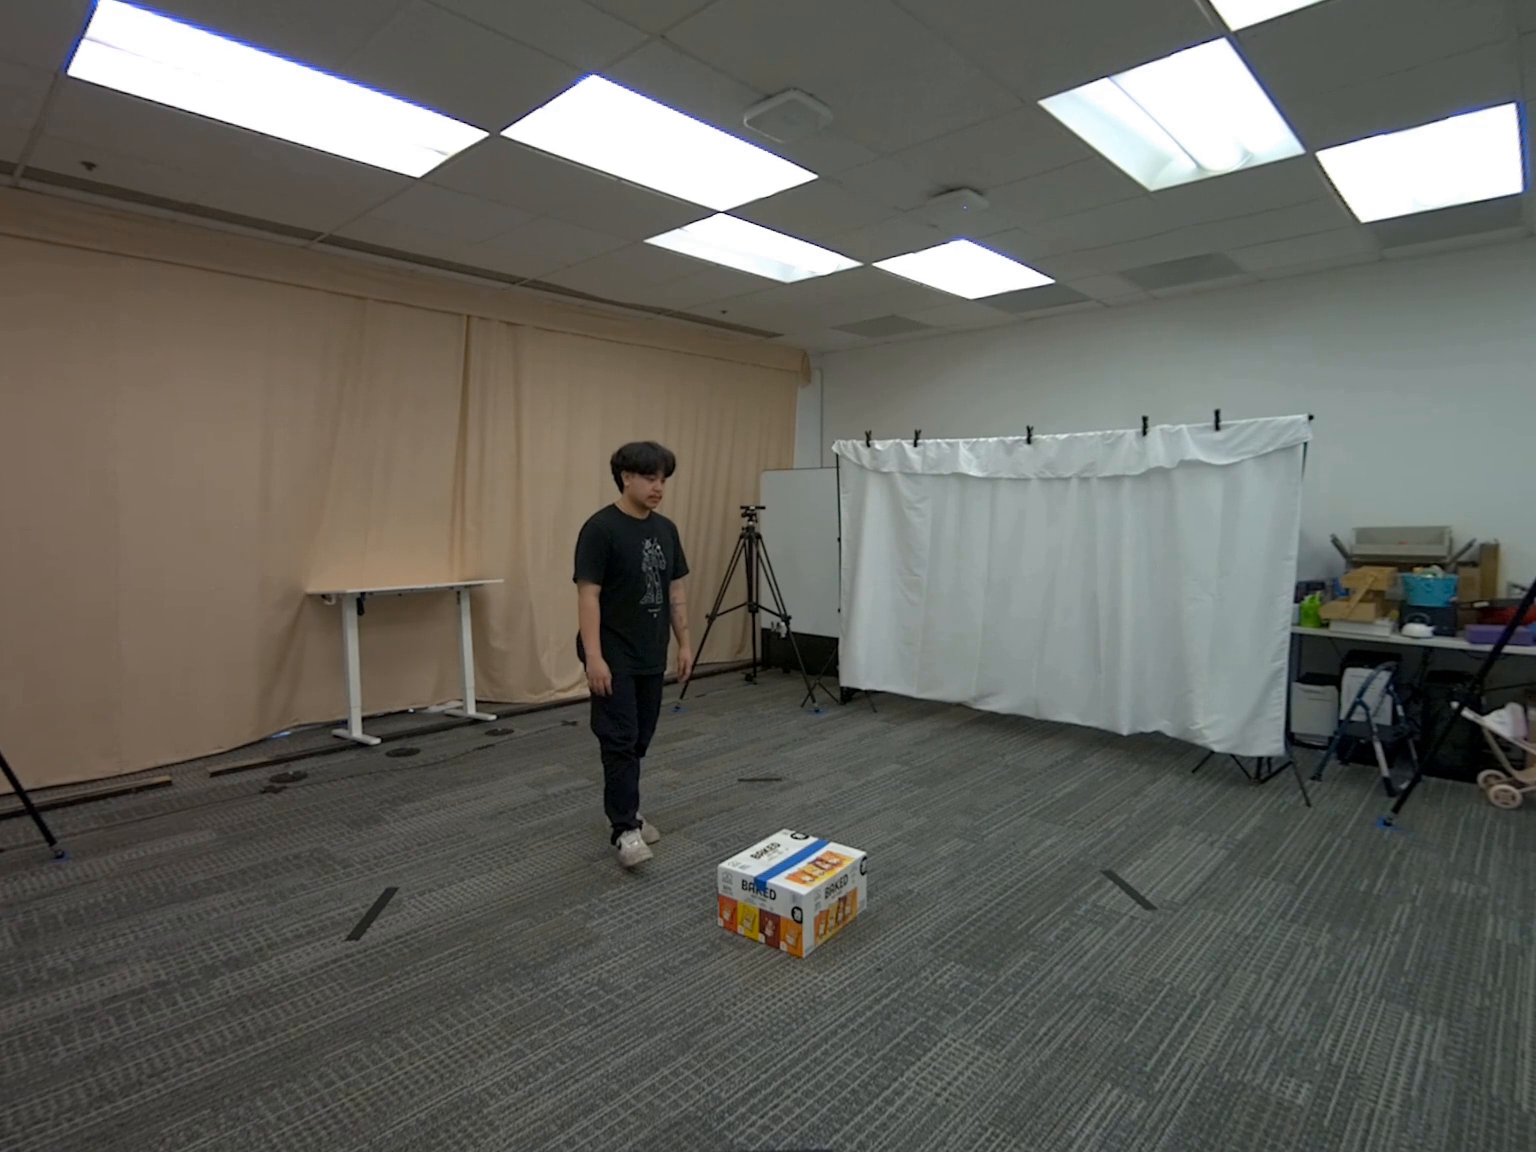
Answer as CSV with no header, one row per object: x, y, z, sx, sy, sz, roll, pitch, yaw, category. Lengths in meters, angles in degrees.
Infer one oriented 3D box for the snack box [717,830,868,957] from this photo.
0.090,1.054,2.839,0.351,0.205,0.393,3,6,36,snack box
